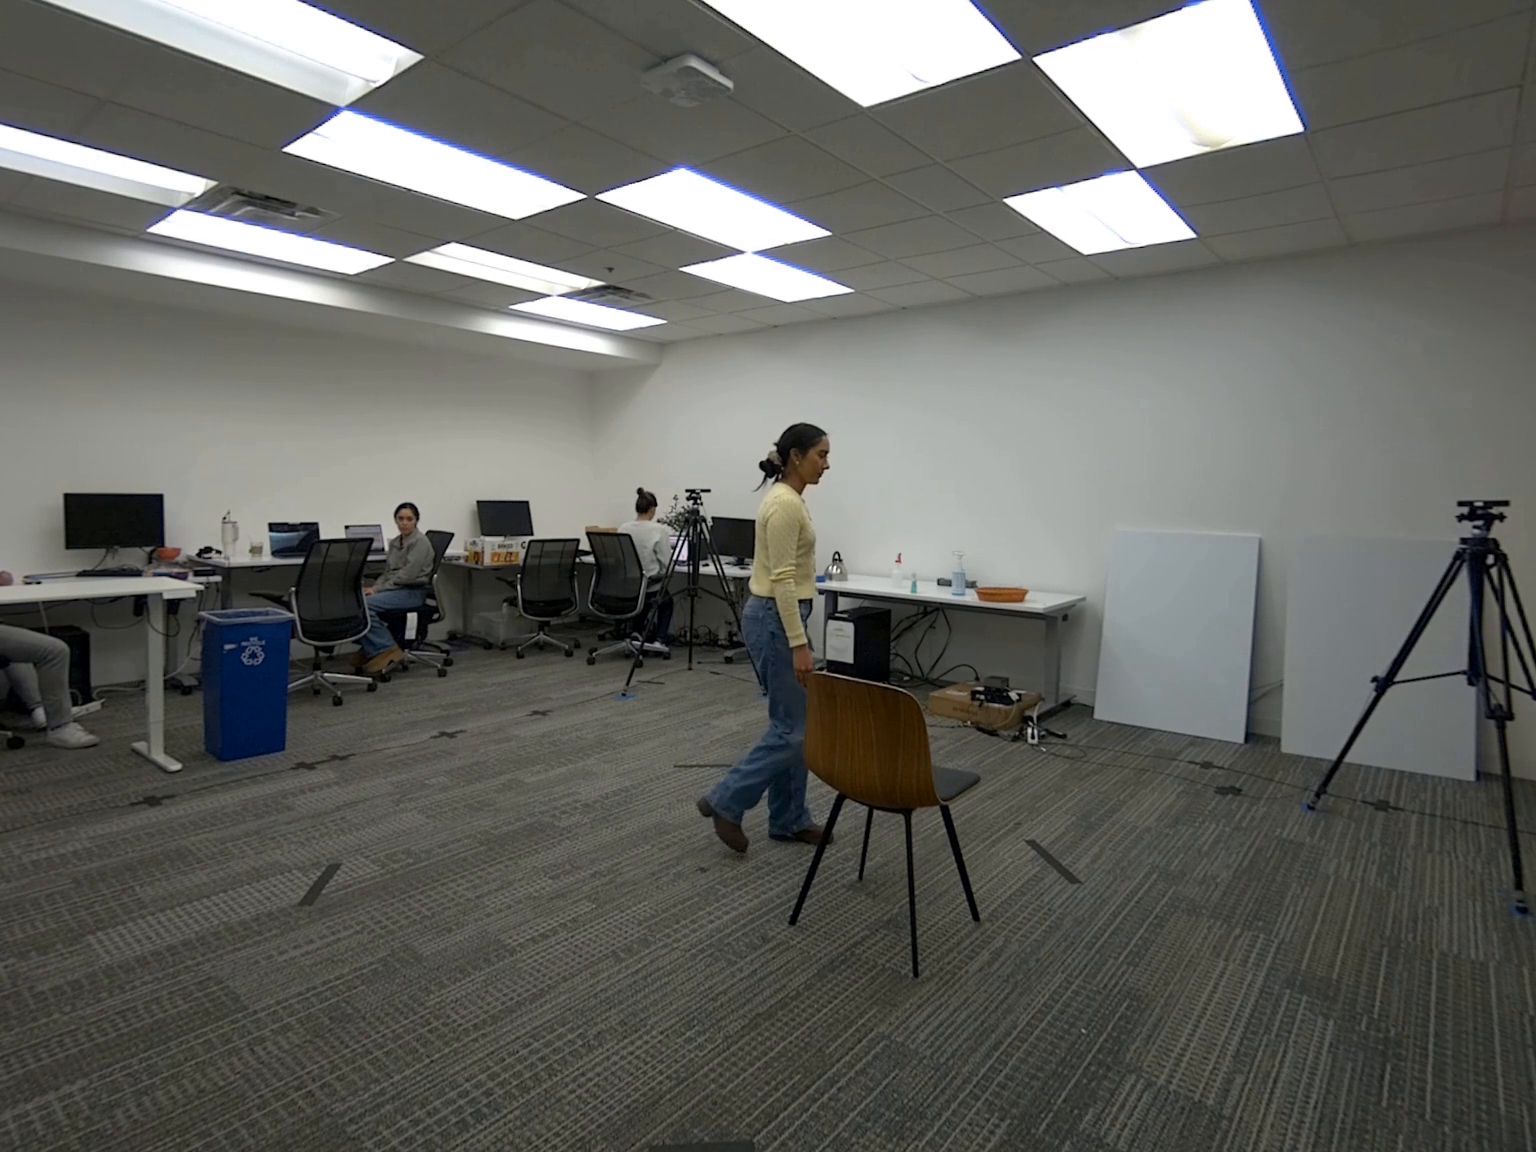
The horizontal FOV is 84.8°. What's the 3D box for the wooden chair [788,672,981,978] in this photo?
[{"bbox_3d":[0.388,0.693,2.740,0.494,0.872,0.509,4,8,38],"label":"wooden chair"}]
